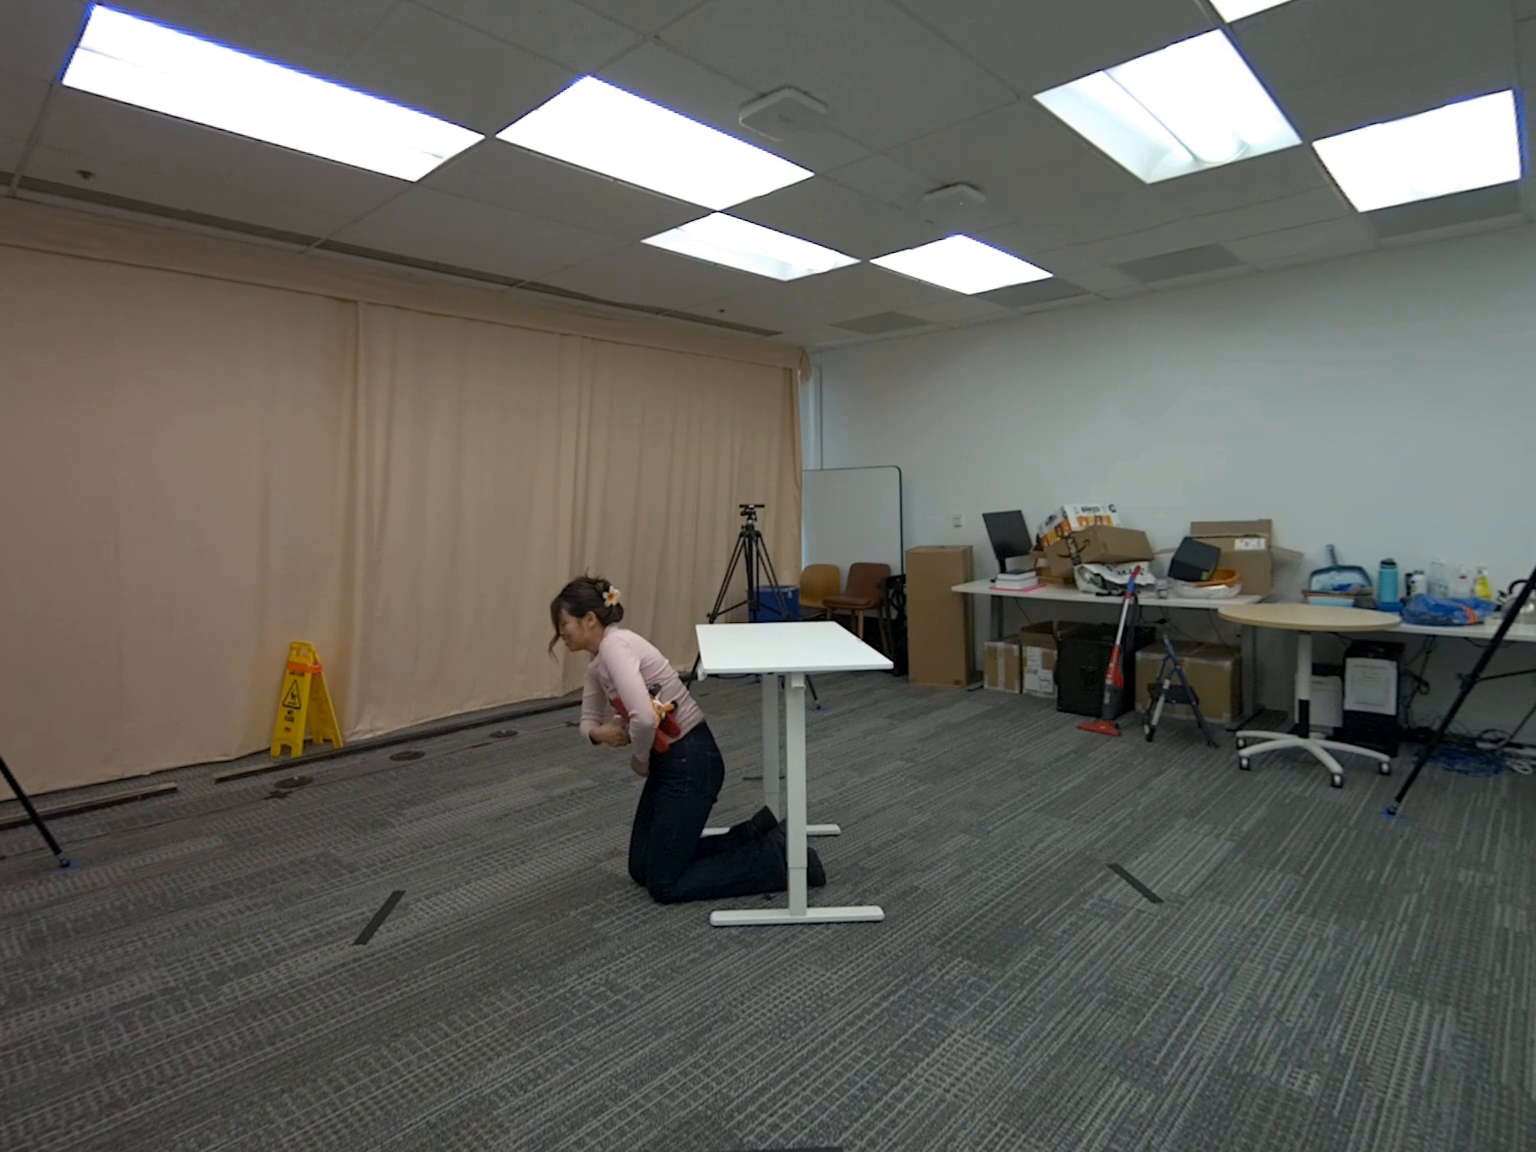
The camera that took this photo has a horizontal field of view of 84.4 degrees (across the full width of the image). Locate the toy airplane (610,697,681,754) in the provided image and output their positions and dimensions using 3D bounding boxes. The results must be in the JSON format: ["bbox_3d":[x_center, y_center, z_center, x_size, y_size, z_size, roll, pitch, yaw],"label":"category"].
[{"bbox_3d":[-0.420,0.518,2.931,0.256,0.256,0.155,15,30,17],"label":"toy airplane"}]
